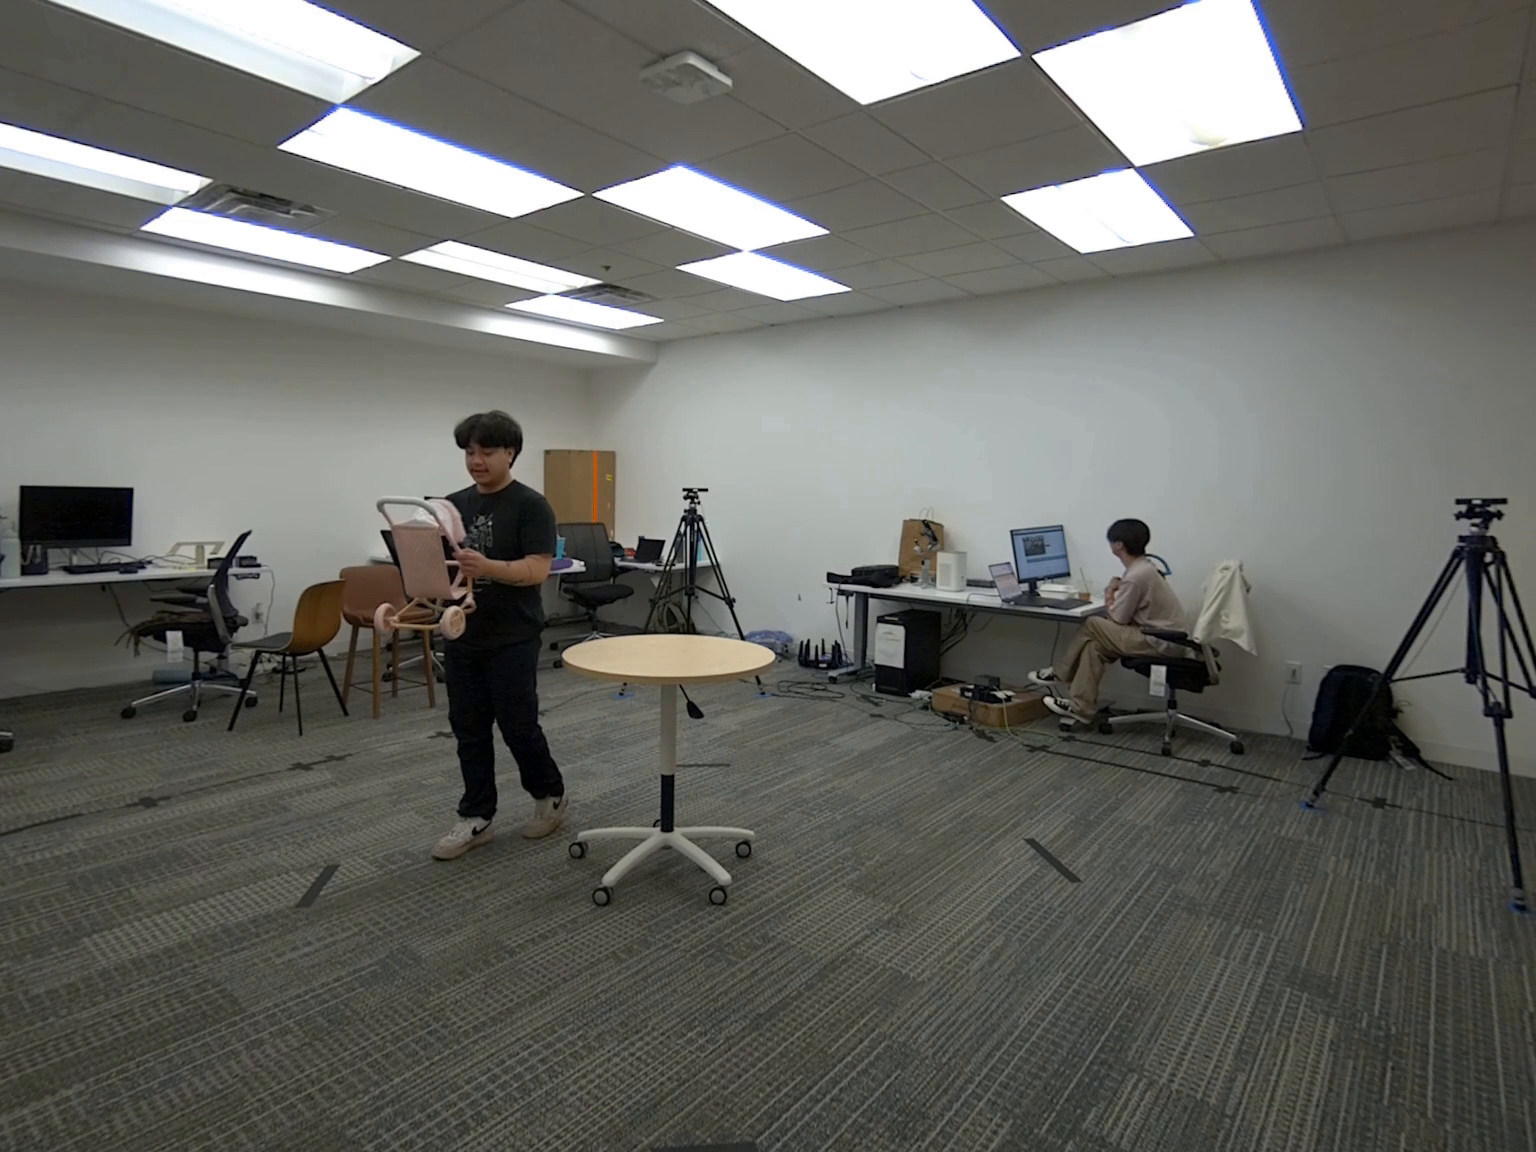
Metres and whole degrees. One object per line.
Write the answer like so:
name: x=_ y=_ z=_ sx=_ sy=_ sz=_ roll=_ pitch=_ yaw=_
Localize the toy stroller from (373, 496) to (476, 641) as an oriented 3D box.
toy stroller: x=-1.150 y=-0.023 z=2.901 sx=0.286 sy=0.530 sz=0.339 roll=2 pitch=10 yaw=15
